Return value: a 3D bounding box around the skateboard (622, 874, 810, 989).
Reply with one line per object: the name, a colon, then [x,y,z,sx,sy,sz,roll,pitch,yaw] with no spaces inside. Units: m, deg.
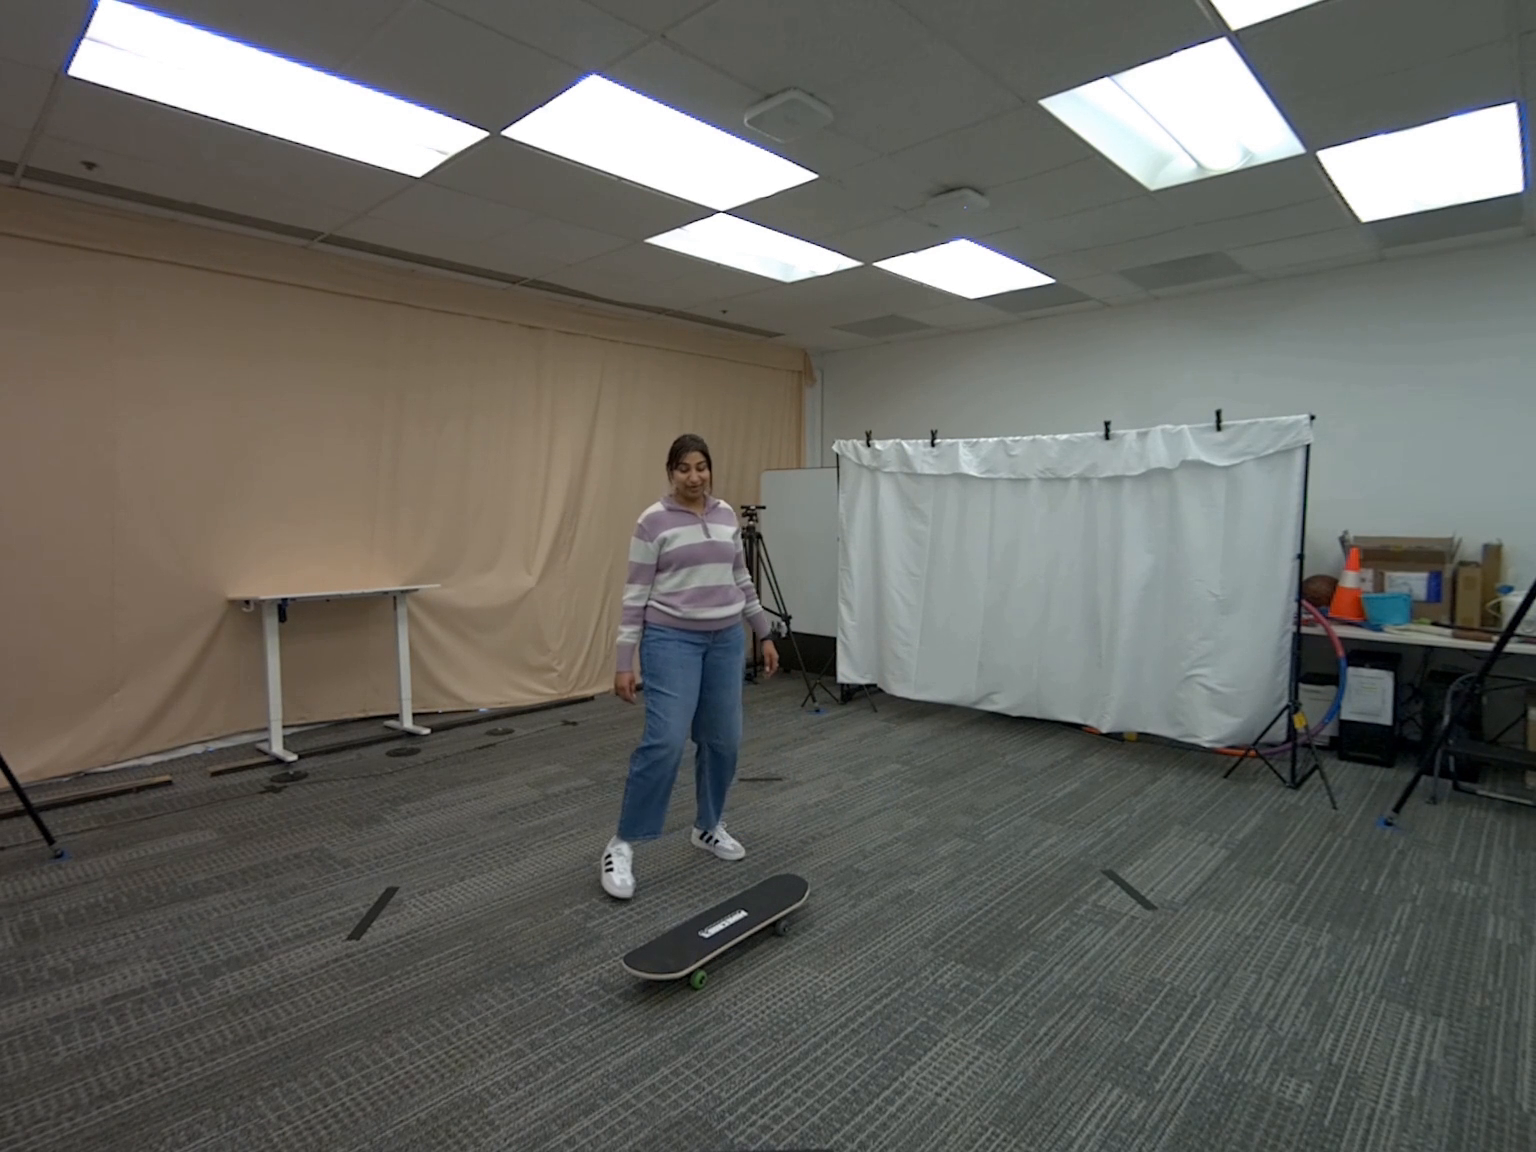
skateboard: [-0.138,1.118,2.632,0.200,0.110,0.762,2,6,40]
